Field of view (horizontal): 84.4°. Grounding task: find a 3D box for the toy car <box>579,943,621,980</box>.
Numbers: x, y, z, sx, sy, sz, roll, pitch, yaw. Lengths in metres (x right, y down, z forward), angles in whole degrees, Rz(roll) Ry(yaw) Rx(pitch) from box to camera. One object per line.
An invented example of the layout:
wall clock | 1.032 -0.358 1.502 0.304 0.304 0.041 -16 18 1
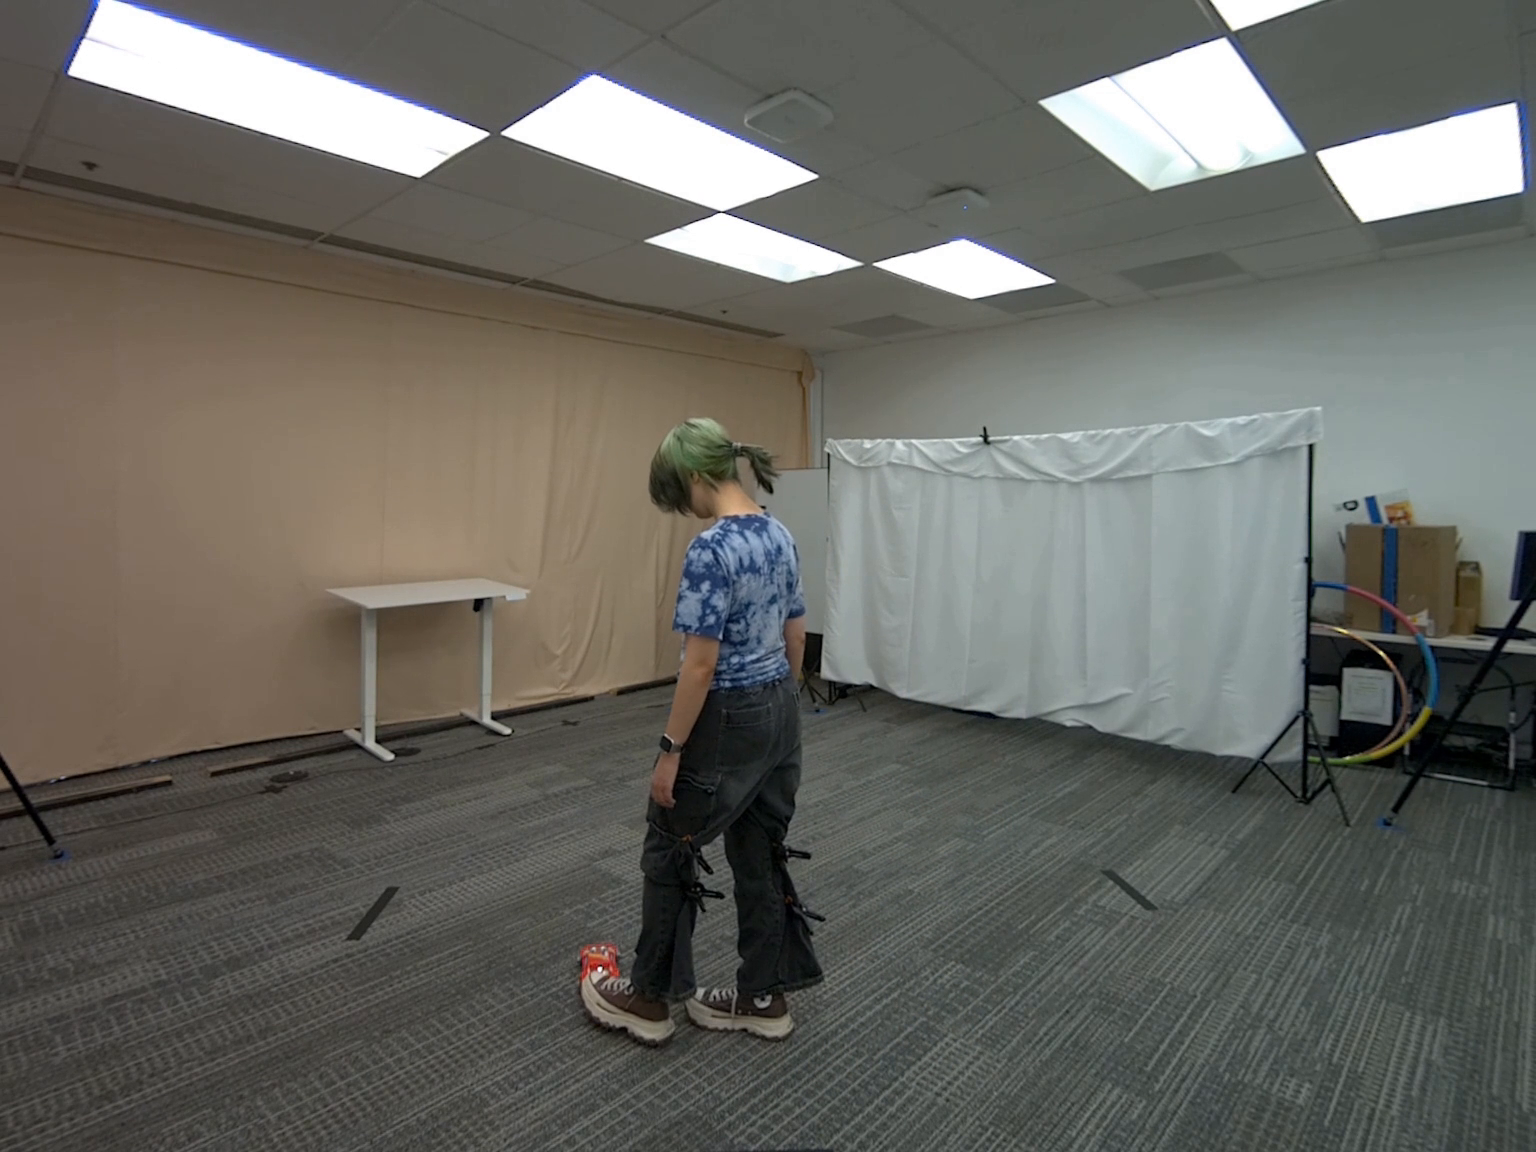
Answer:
toy car | -0.494 1.163 2.465 0.129 0.083 0.256 -1 -6 -11
